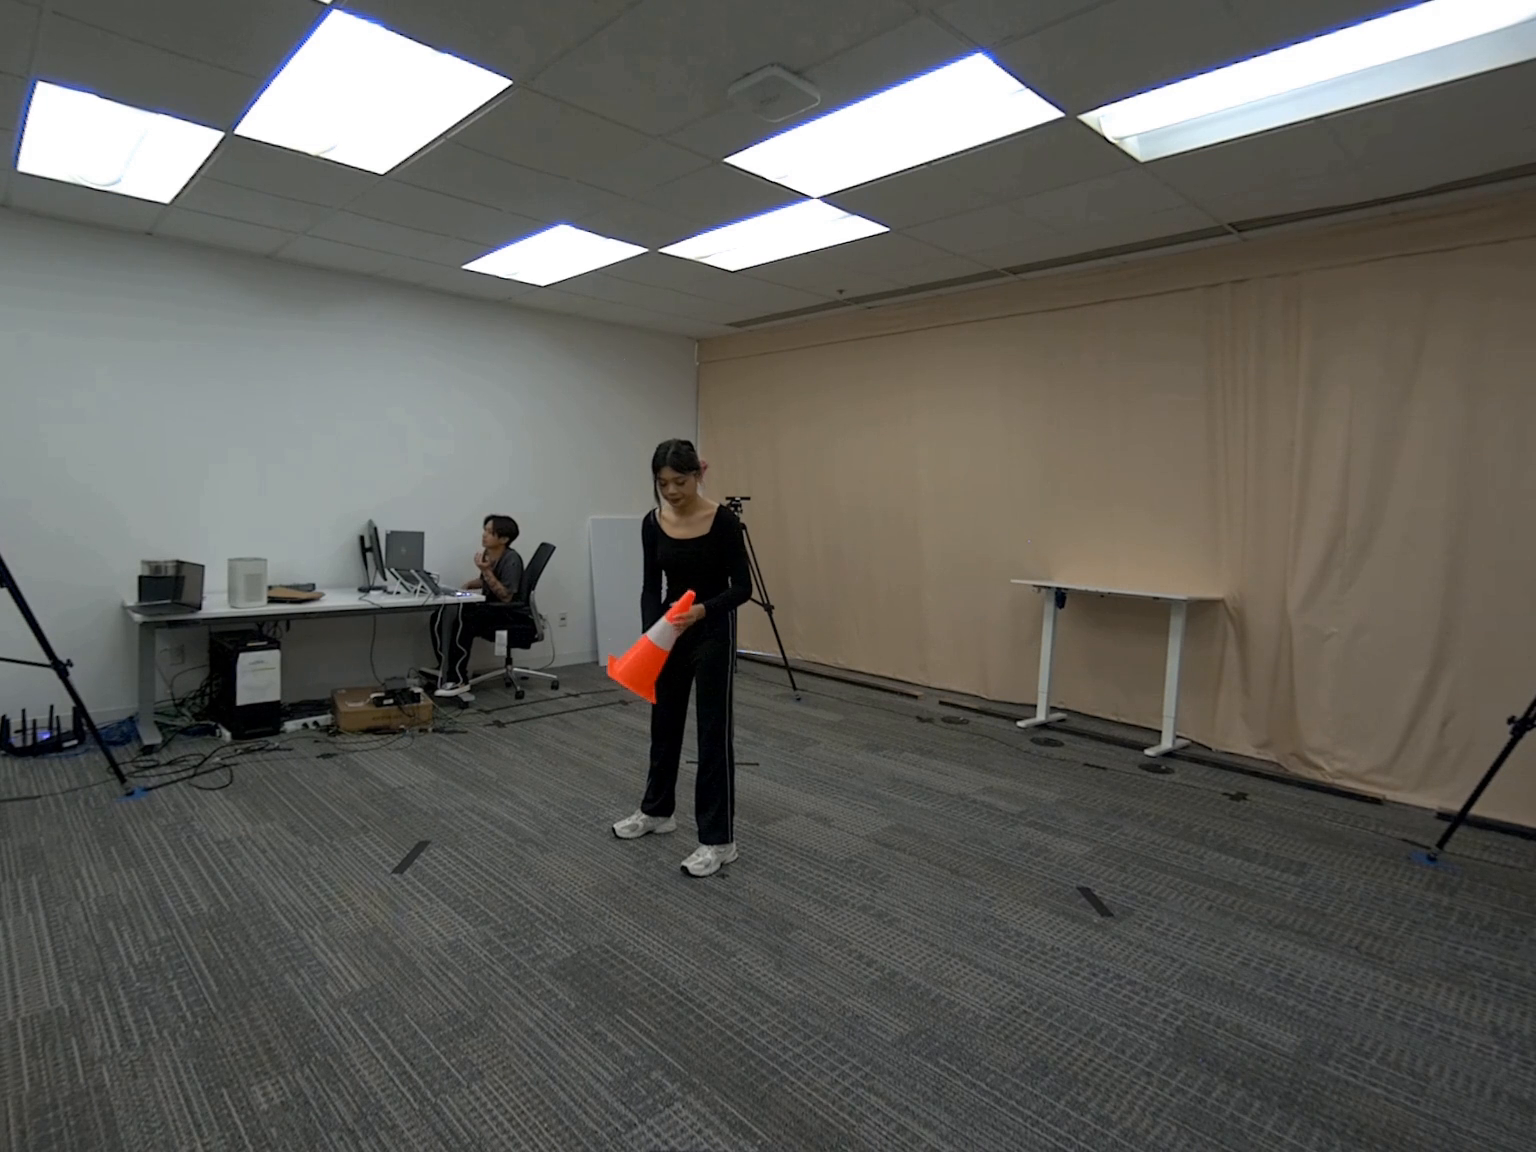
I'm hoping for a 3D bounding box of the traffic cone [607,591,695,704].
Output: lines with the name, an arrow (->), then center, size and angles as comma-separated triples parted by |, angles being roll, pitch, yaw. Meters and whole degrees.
traffic cone -> -0.387, 0.210, 2.924 | 0.201, 0.383, 0.207 | 32, 10, -17
